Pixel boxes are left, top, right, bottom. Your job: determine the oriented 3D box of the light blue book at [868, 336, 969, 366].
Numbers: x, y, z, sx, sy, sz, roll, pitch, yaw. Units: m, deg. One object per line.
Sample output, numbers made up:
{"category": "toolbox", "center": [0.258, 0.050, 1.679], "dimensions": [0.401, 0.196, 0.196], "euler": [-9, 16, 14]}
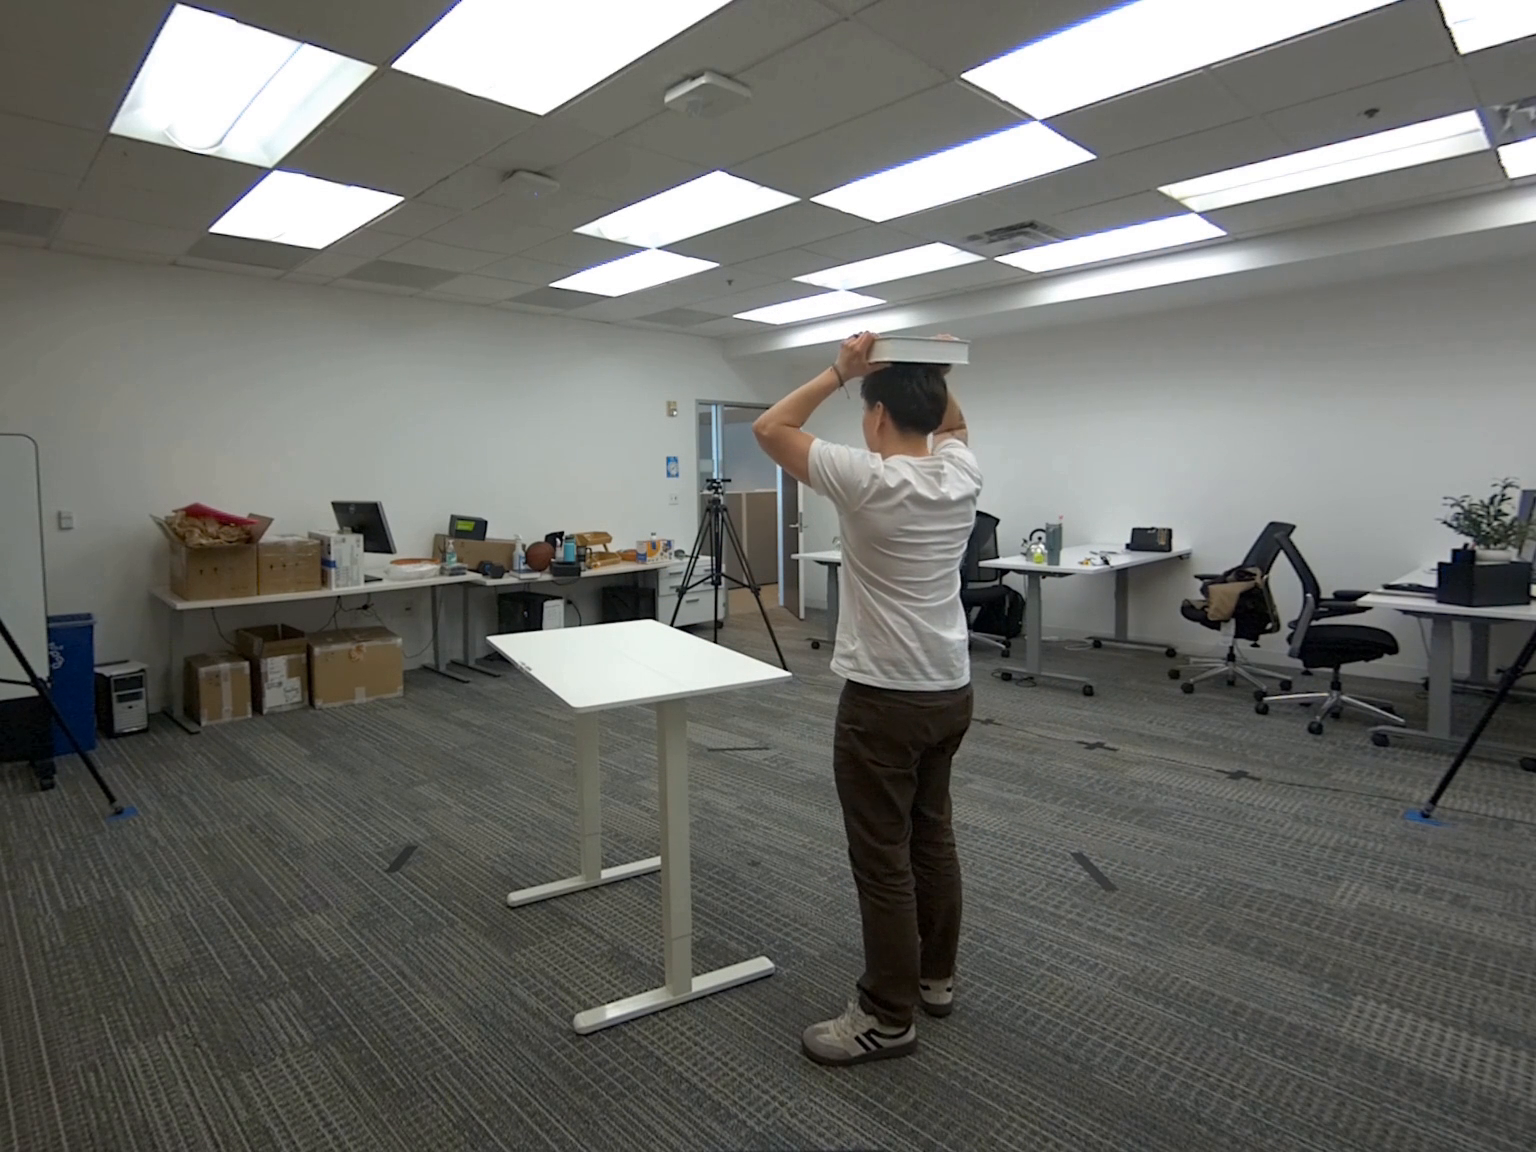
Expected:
{"category": "light blue book", "center": [0.340, -0.559, 2.118], "dimensions": [0.255, 0.058, 0.197], "euler": [-5, 10, -28]}
